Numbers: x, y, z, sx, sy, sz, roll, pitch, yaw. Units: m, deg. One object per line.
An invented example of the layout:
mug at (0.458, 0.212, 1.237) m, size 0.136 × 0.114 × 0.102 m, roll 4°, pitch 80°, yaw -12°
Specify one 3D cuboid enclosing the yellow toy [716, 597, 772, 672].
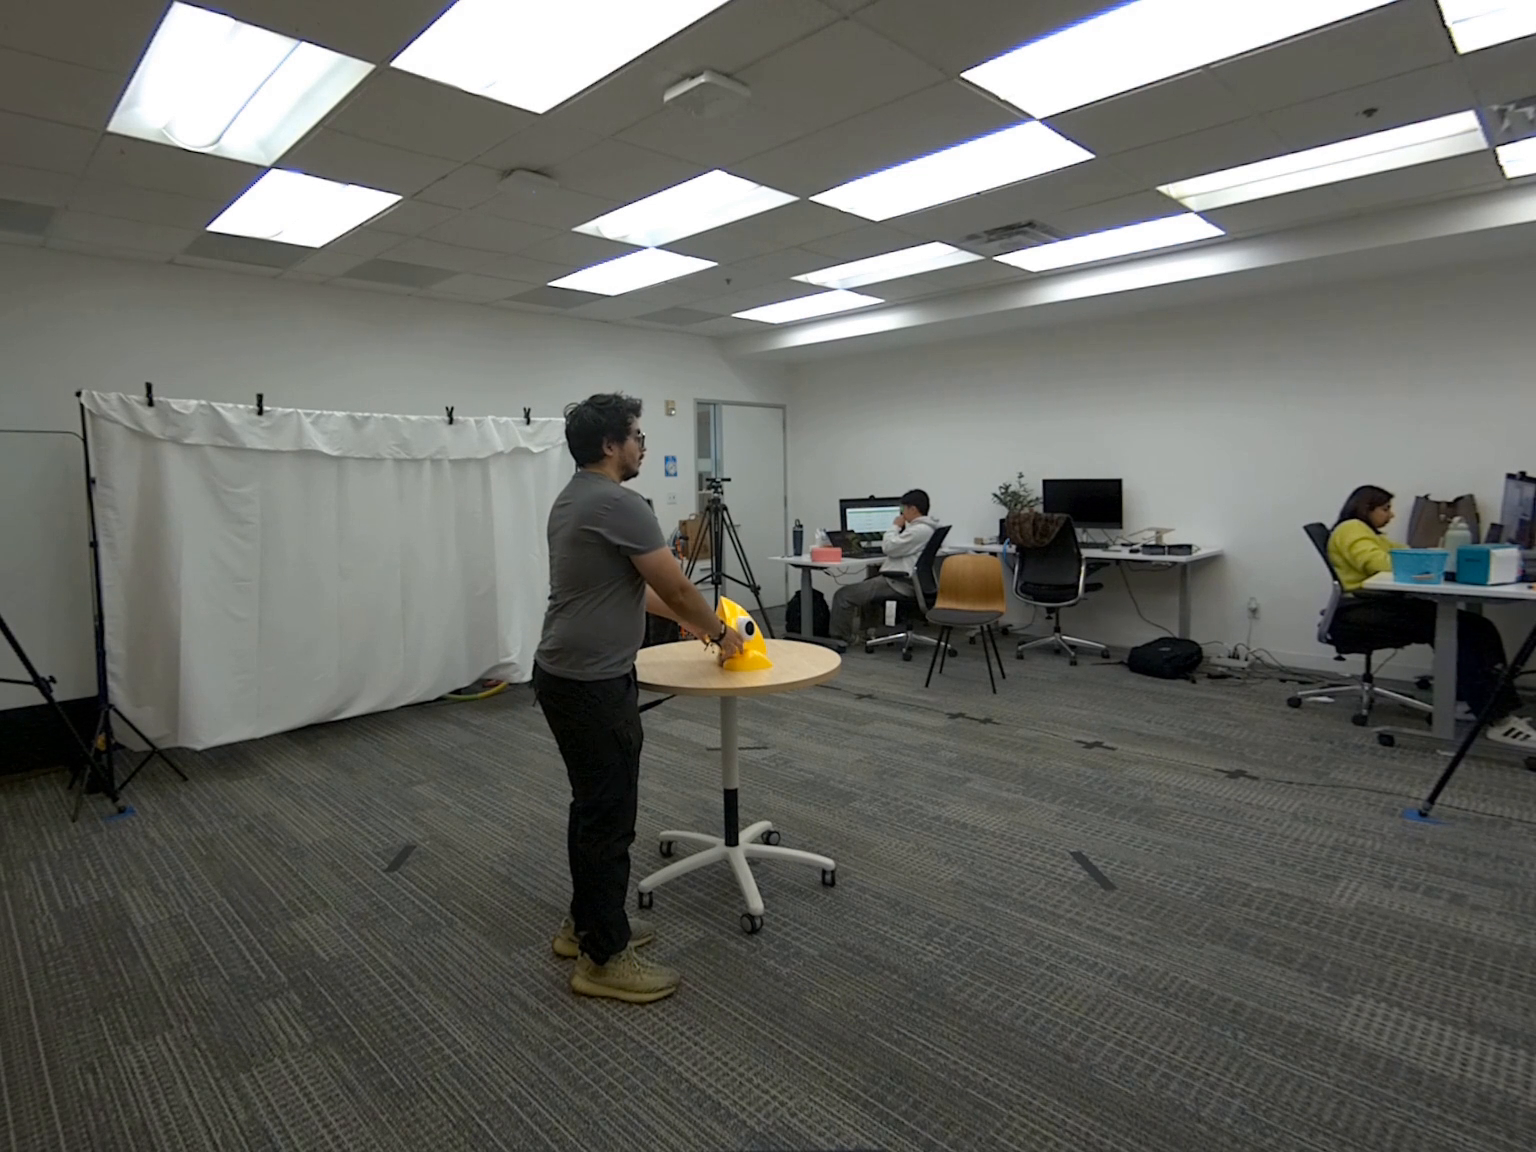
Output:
yellow toy at (-0.093, 0.179, 2.824) m, size 0.190 × 0.230 × 0.209 m, roll -3°, pitch 5°, yaw -20°
